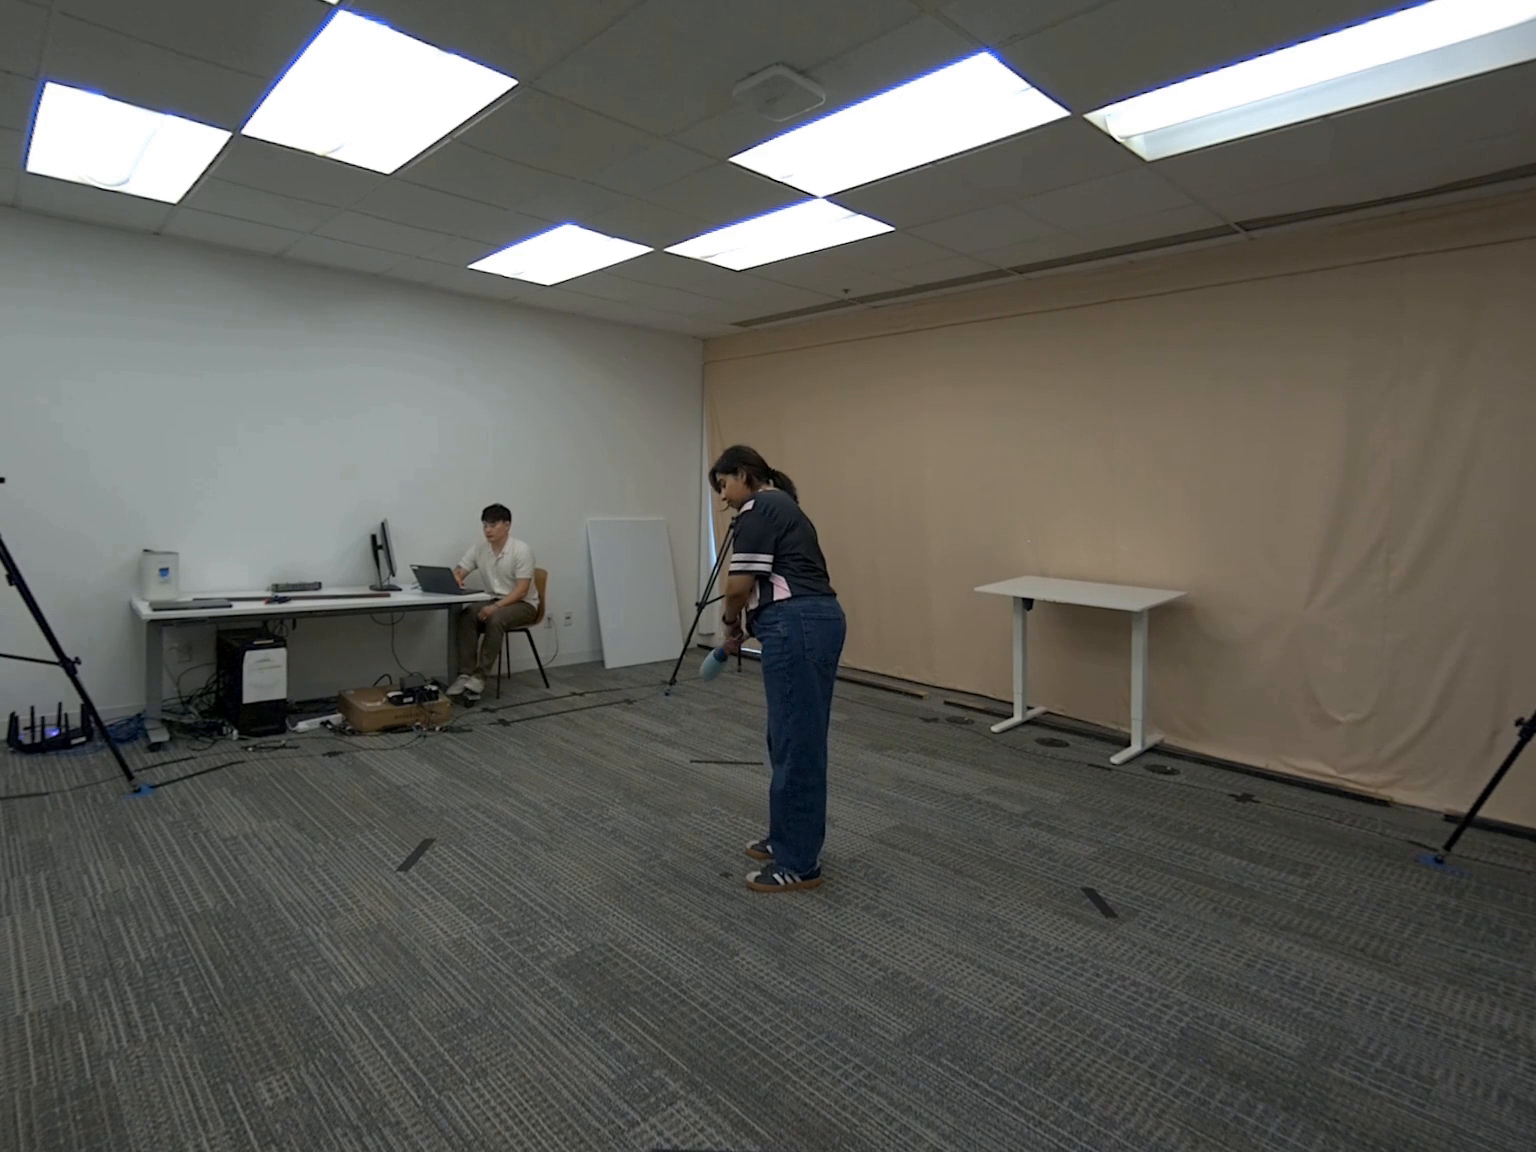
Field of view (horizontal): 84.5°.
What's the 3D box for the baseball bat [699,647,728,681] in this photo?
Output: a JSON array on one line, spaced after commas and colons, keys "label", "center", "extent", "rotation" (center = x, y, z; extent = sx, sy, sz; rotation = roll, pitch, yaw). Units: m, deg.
[{"label": "baseball bat", "center": [-0.201, 0.308, 3.492], "extent": [0.088, 0.090, 0.539], "rotation": [1, -24, -15]}]
